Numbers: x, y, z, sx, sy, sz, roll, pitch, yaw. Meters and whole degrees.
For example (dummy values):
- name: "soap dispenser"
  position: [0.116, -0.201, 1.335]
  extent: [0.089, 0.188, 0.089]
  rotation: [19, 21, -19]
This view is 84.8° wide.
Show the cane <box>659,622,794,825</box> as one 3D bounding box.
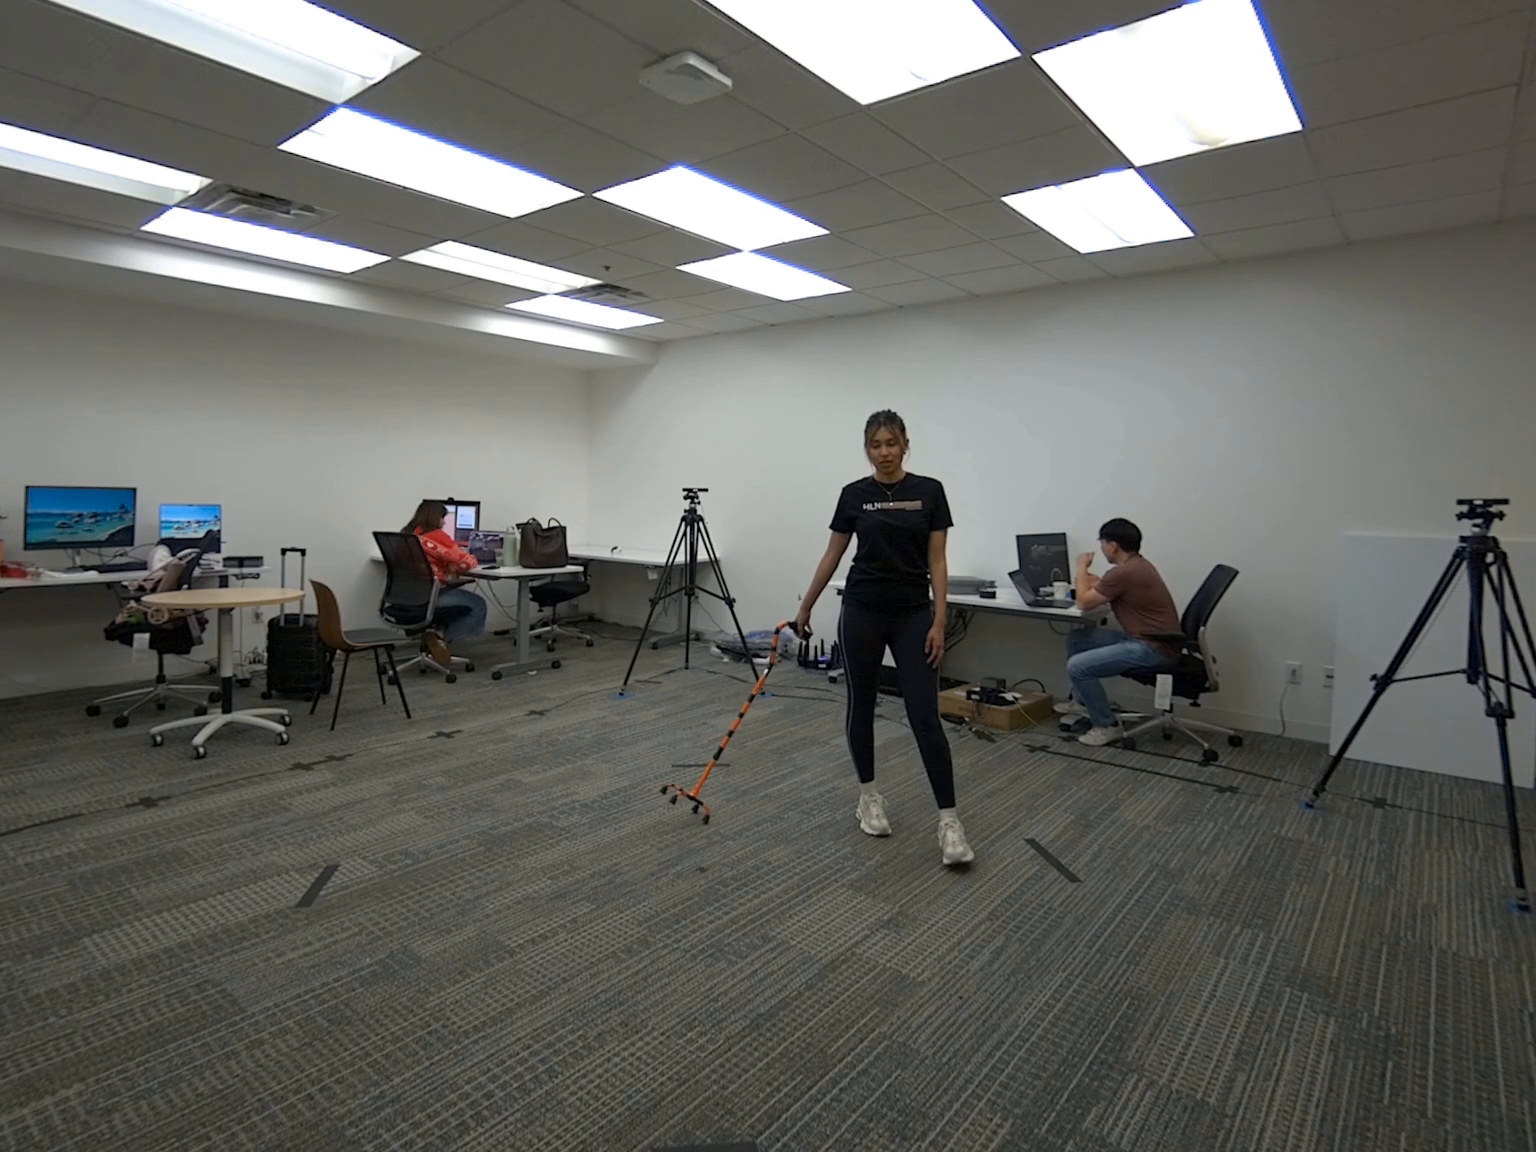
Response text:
- name: "cane"
  position: [-0.131, 0.588, 3.639]
  extent: [0.201, 0.910, 0.155]
  rotation: [35, -10, -21]
